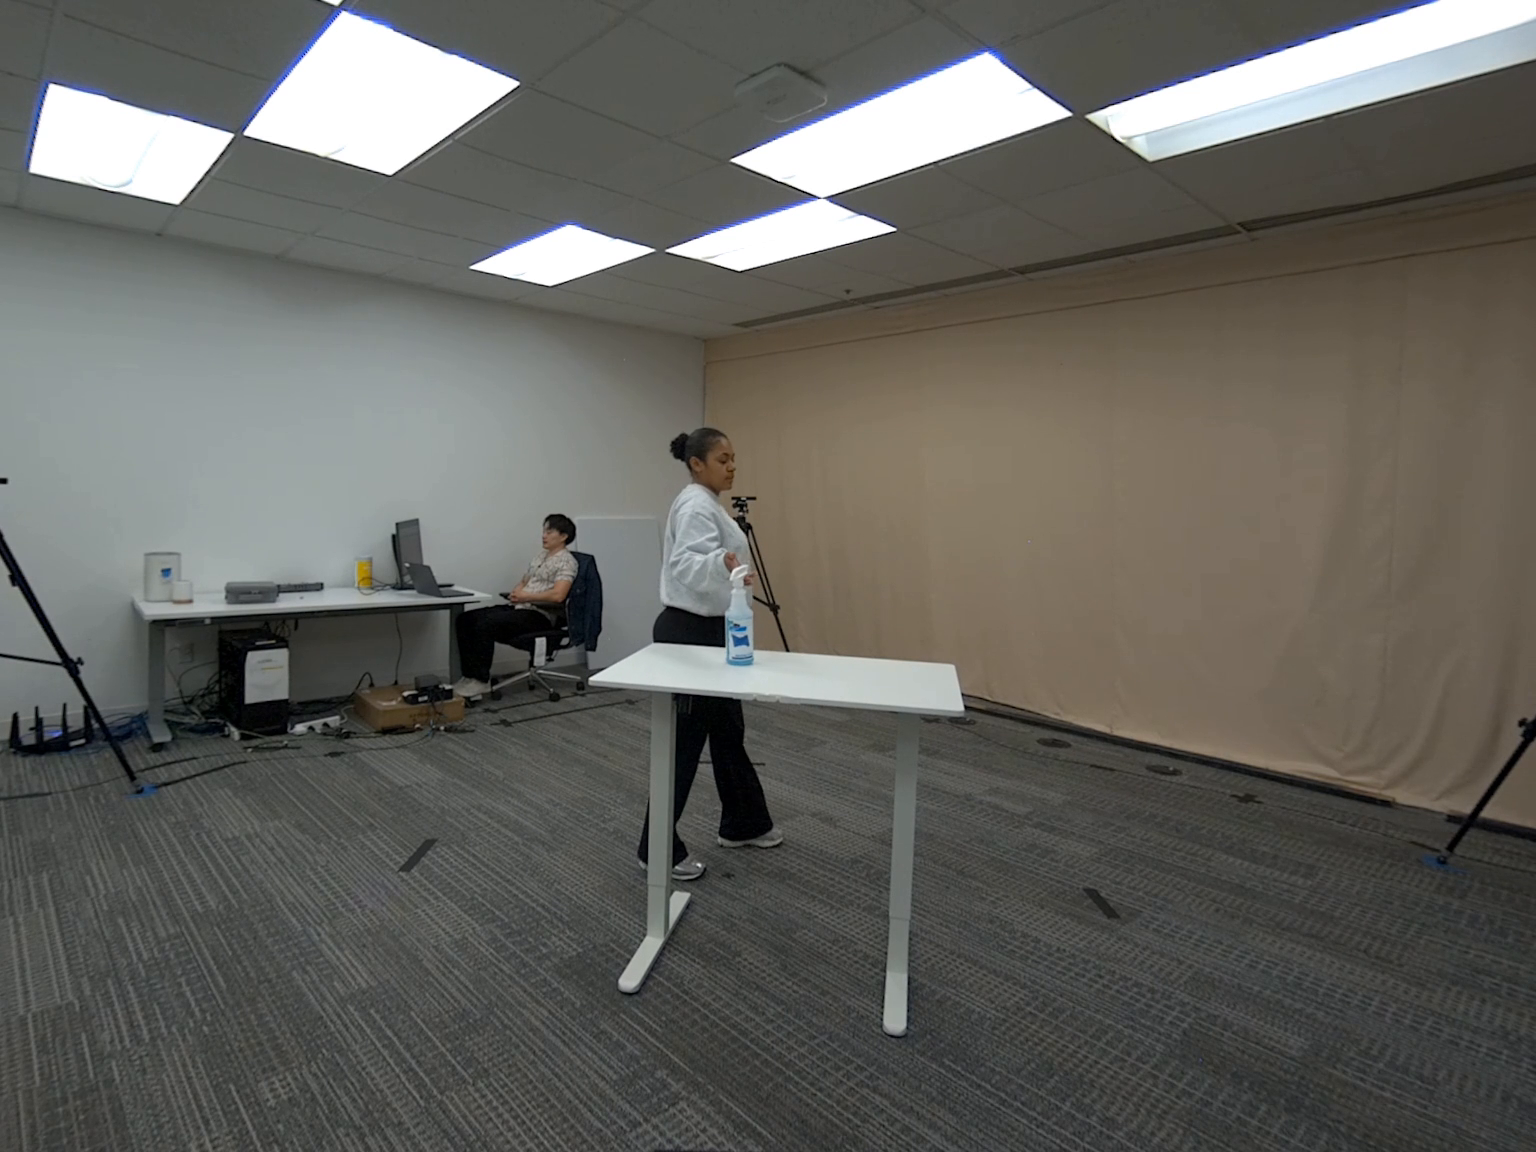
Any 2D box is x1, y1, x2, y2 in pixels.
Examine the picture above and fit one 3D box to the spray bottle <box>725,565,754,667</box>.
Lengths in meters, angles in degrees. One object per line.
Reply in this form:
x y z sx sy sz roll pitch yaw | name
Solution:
-0.095 0.122 2.575 0.088 0.296 0.089 -5 9 -34 | spray bottle
